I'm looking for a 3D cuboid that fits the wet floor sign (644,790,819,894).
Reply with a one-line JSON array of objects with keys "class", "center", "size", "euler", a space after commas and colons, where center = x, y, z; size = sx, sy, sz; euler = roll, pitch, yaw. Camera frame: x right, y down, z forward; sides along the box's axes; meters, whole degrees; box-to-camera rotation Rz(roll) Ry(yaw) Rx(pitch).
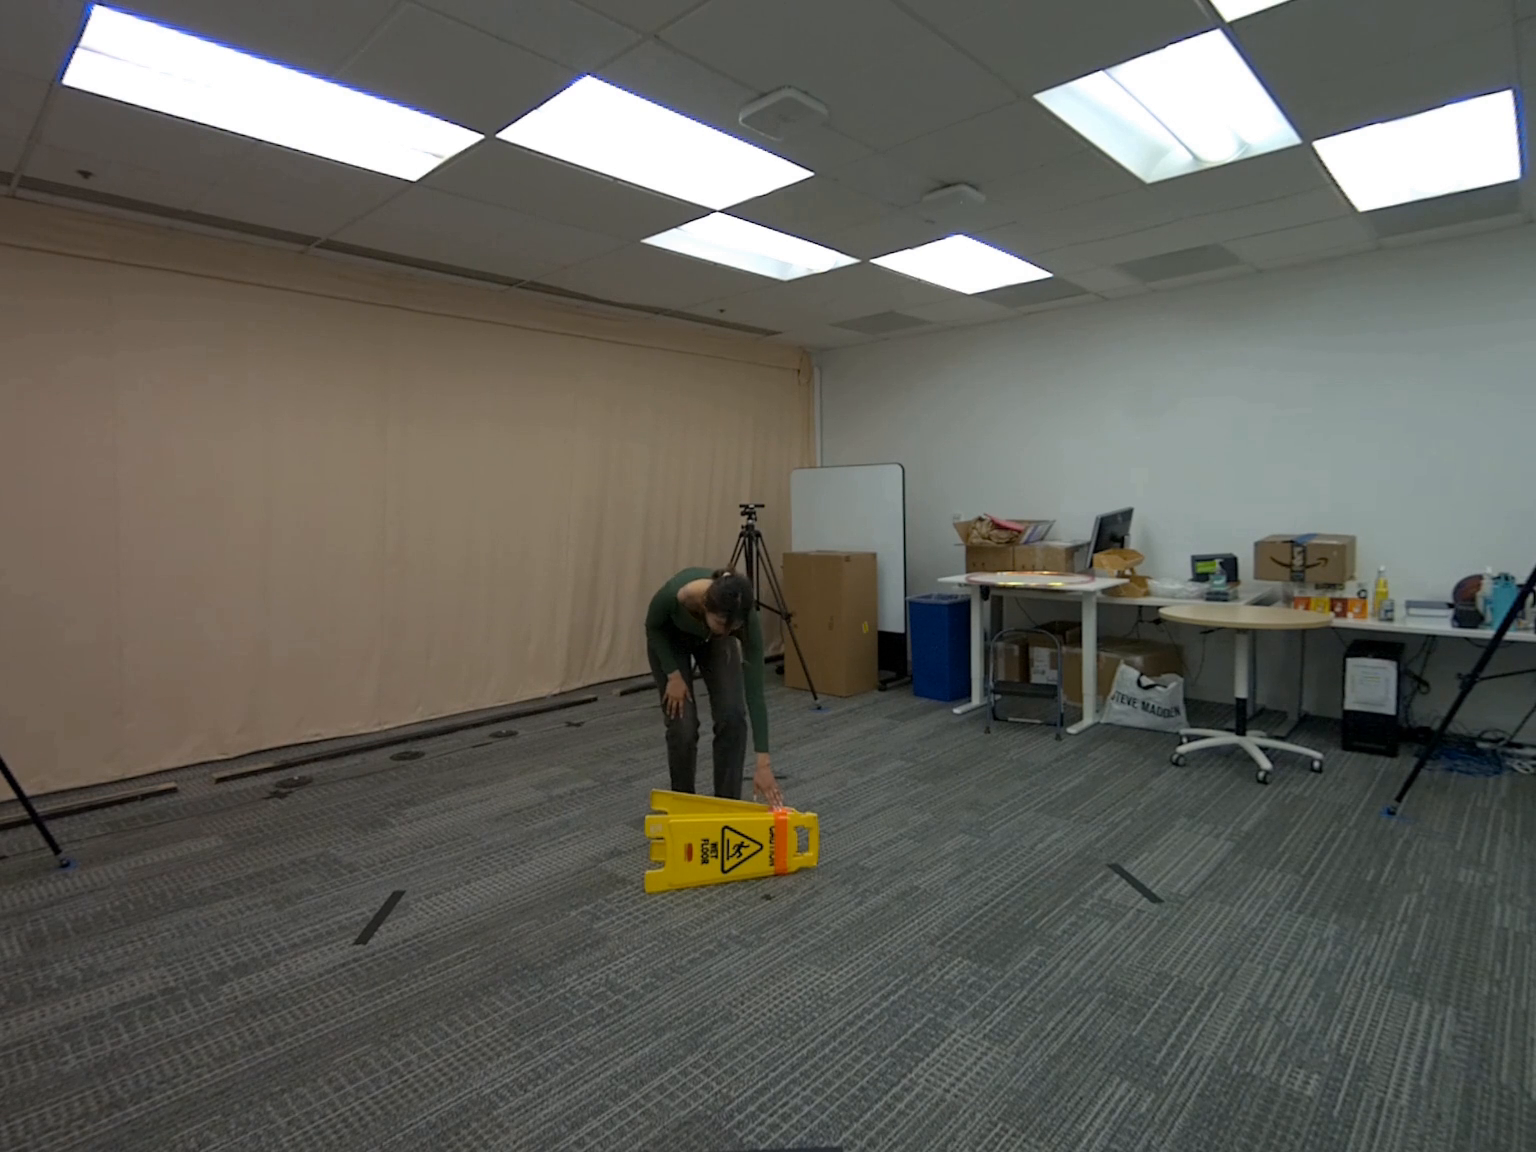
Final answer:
[{"class": "wet floor sign", "center": [-0.123, 0.990, 3.182], "size": [0.645, 0.282, 0.291], "euler": [1, 4, -1]}]
